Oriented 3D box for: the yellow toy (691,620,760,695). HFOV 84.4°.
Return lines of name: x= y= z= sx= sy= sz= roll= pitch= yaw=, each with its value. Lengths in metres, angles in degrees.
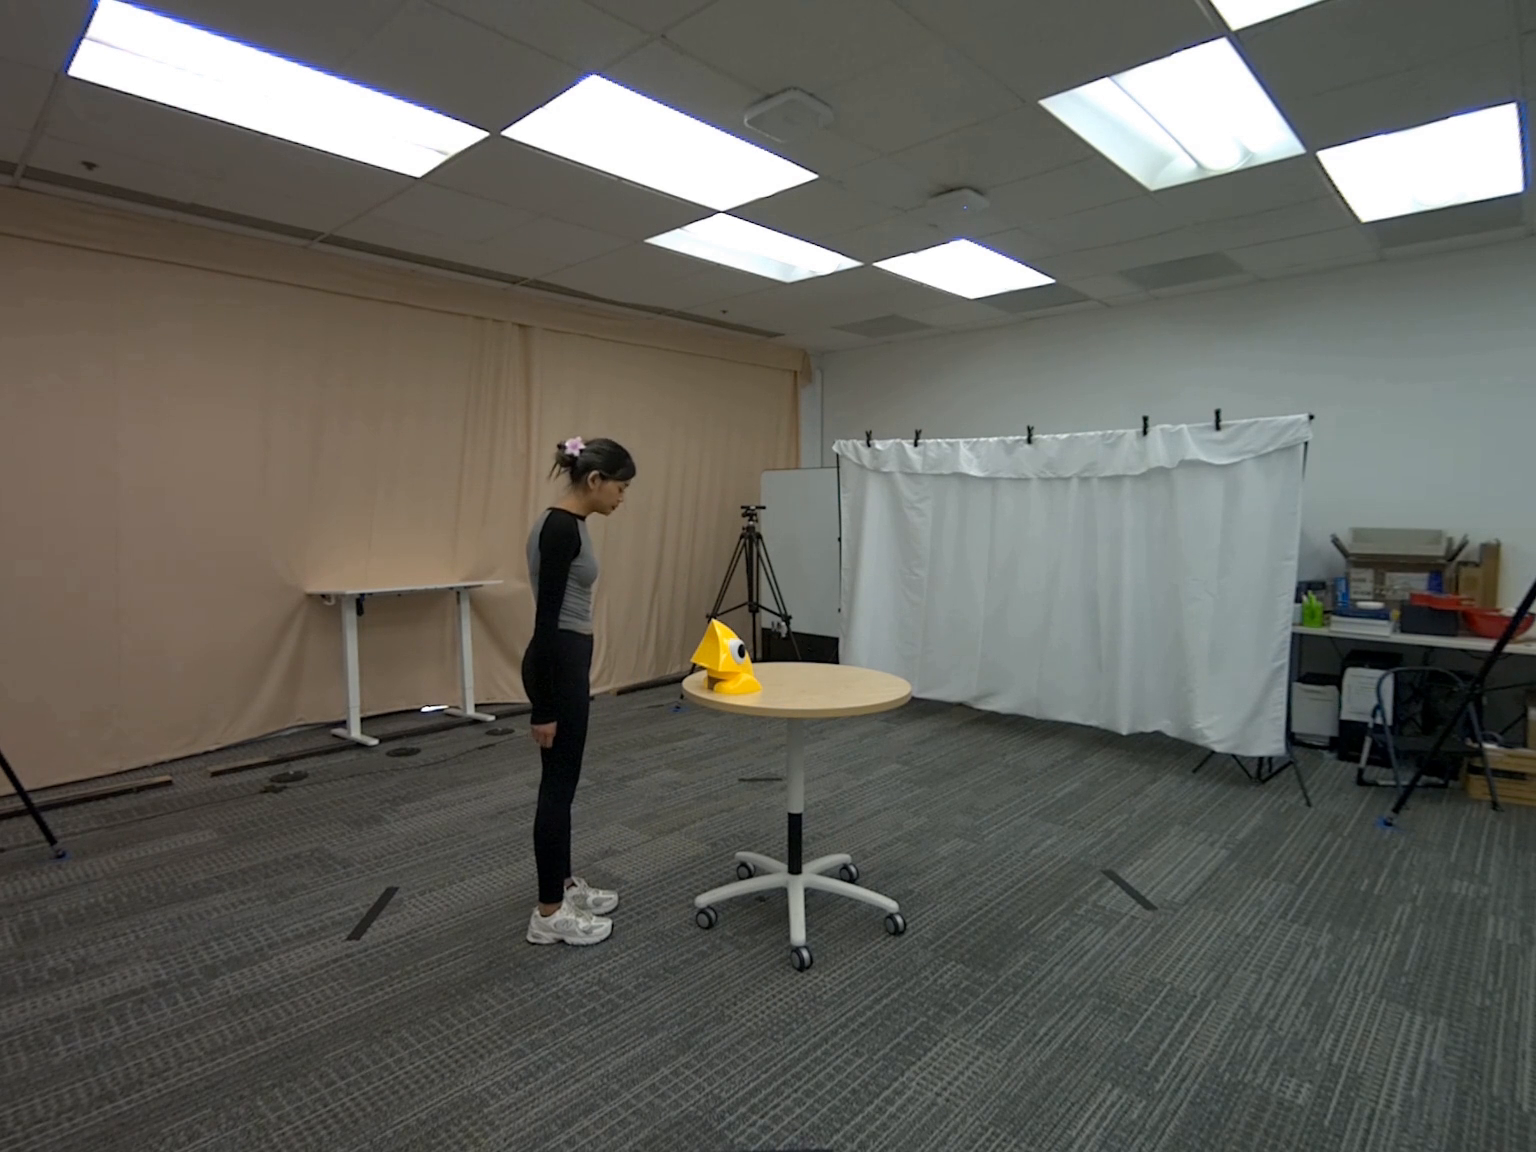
yellow toy: x=-0.127 y=0.253 z=2.757 sx=0.188 sy=0.230 sz=0.211 roll=-1 pitch=4 yaw=-29
